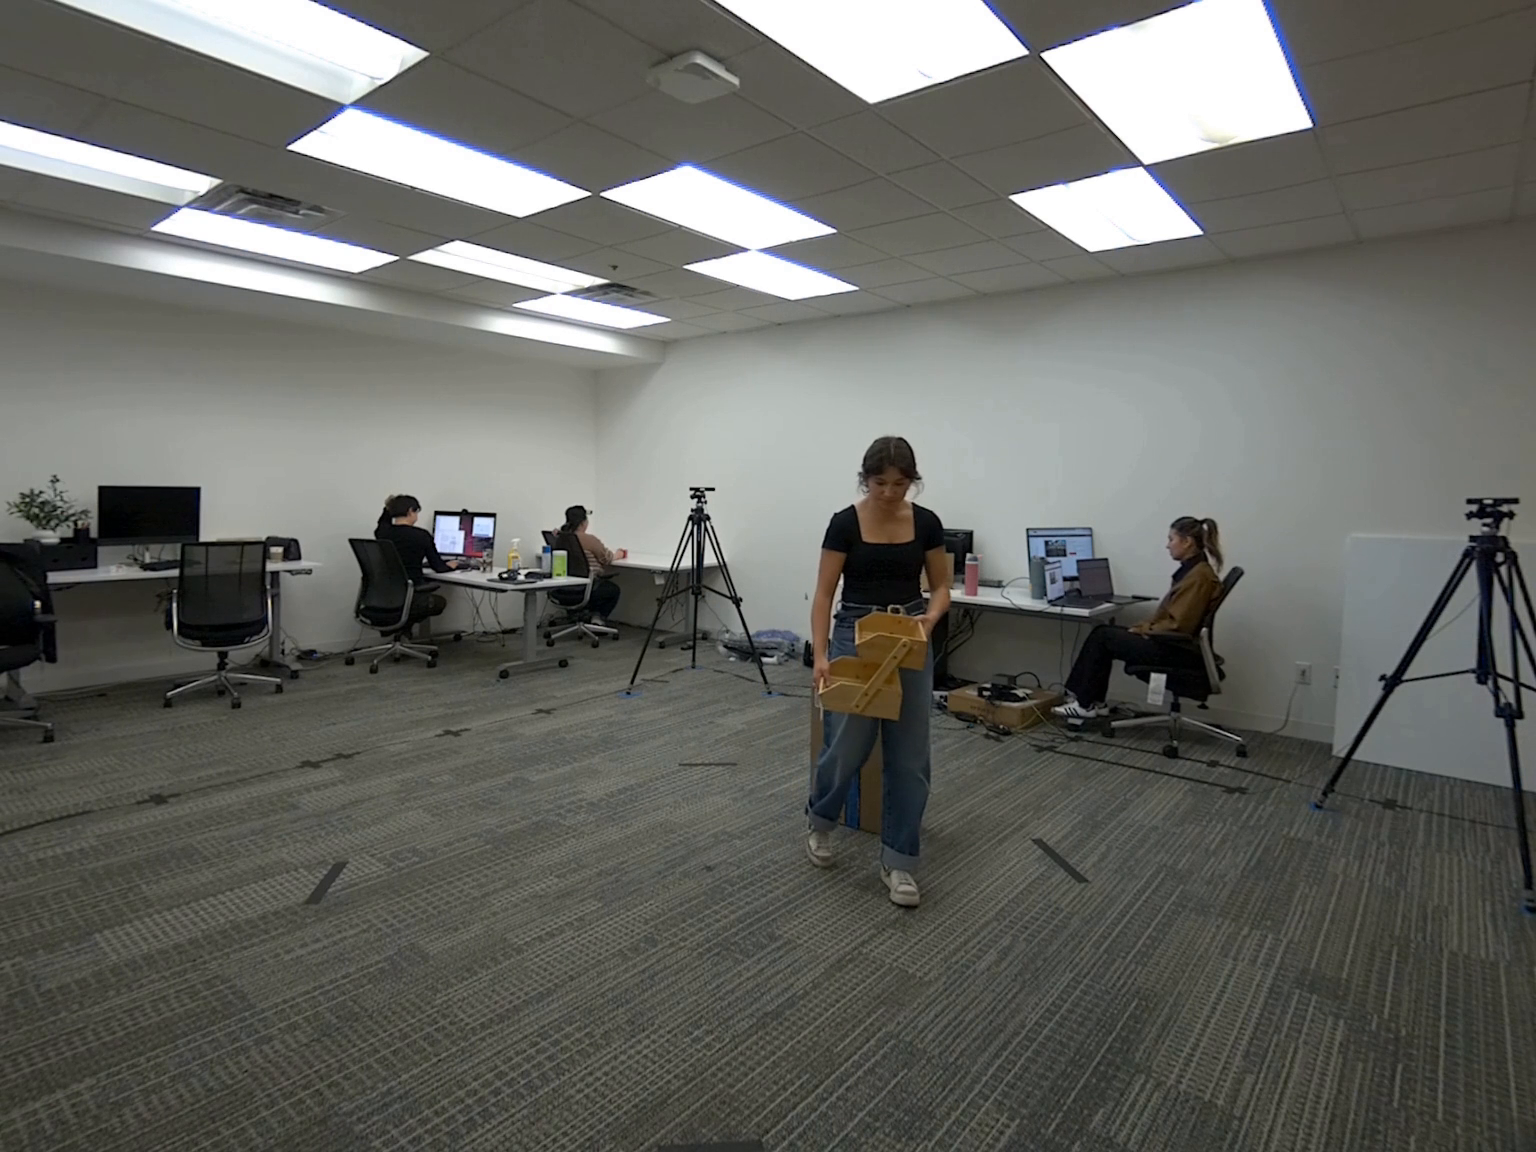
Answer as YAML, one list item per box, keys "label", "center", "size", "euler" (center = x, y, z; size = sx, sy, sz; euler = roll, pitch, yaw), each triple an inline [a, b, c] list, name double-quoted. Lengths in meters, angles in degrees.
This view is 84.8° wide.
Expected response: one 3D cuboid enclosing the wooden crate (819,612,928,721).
- label: "wooden crate"
  center: [0.314, 0.270, 2.740]
  size: [0.303, 0.271, 0.326]
  euler: [5, 10, 2]
